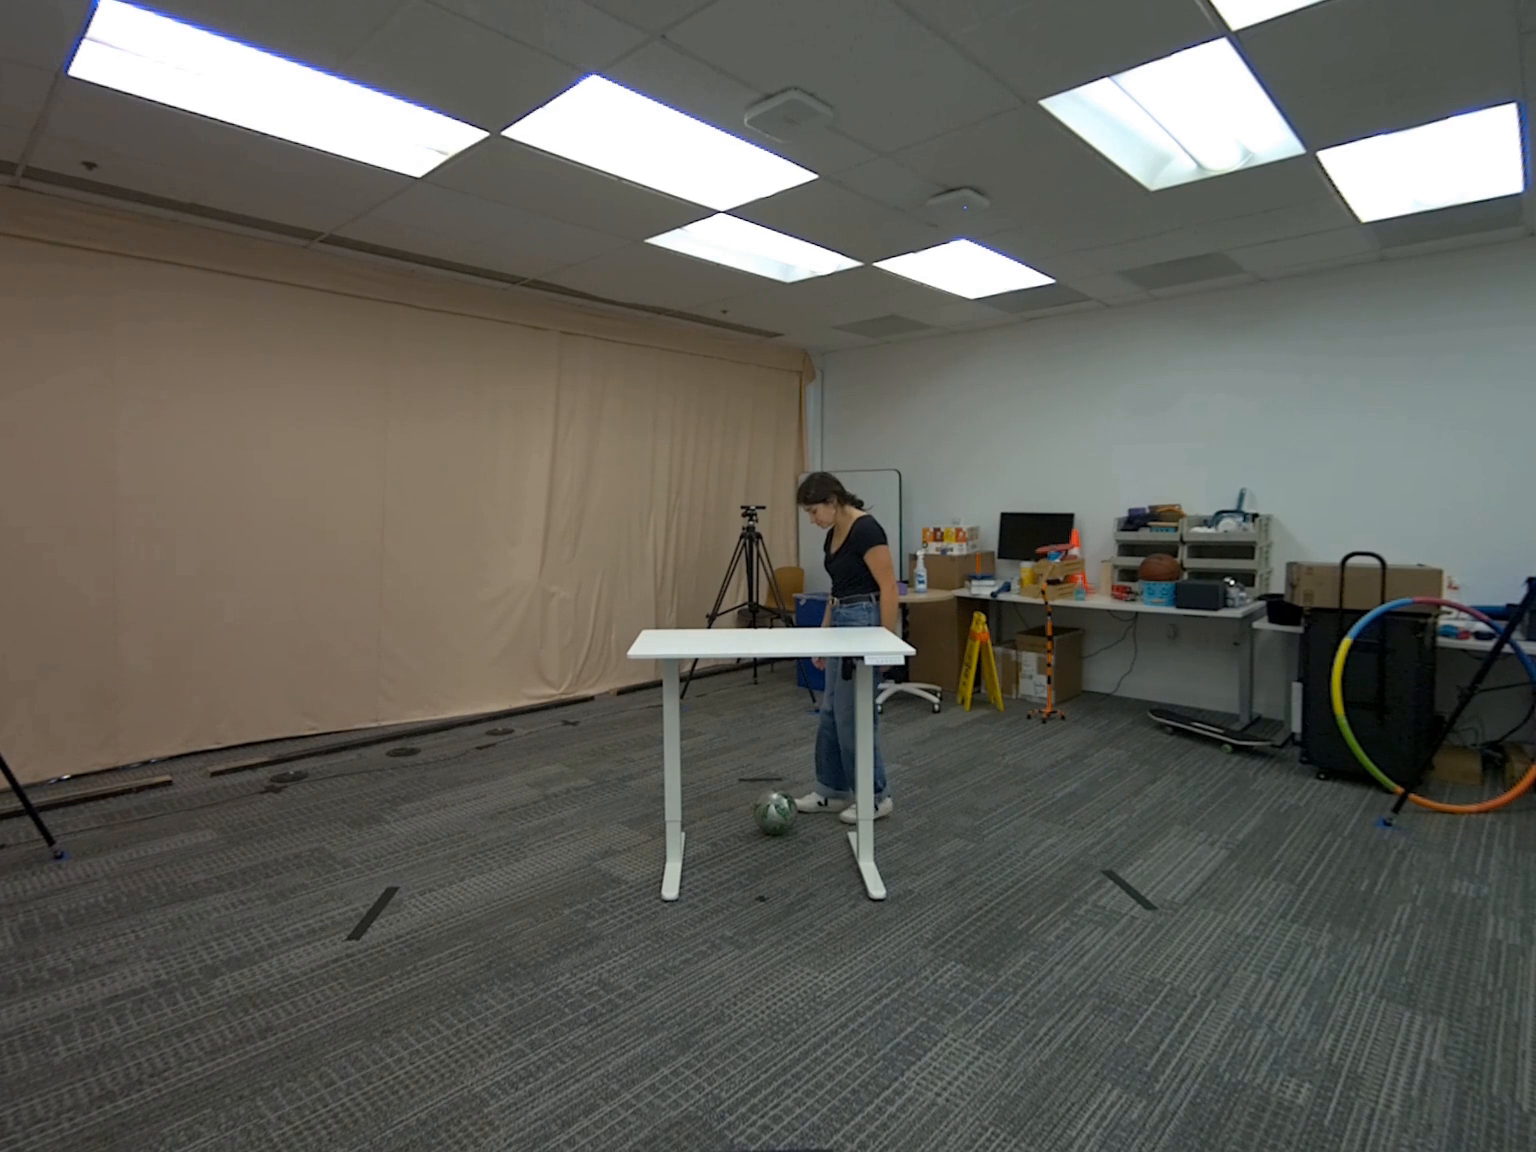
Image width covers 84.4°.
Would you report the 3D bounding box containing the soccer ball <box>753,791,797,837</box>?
[{"bbox_3d":[0.041,1.003,3.574,0.187,0.187,0.188,0,4,-2],"label":"soccer ball"}]
